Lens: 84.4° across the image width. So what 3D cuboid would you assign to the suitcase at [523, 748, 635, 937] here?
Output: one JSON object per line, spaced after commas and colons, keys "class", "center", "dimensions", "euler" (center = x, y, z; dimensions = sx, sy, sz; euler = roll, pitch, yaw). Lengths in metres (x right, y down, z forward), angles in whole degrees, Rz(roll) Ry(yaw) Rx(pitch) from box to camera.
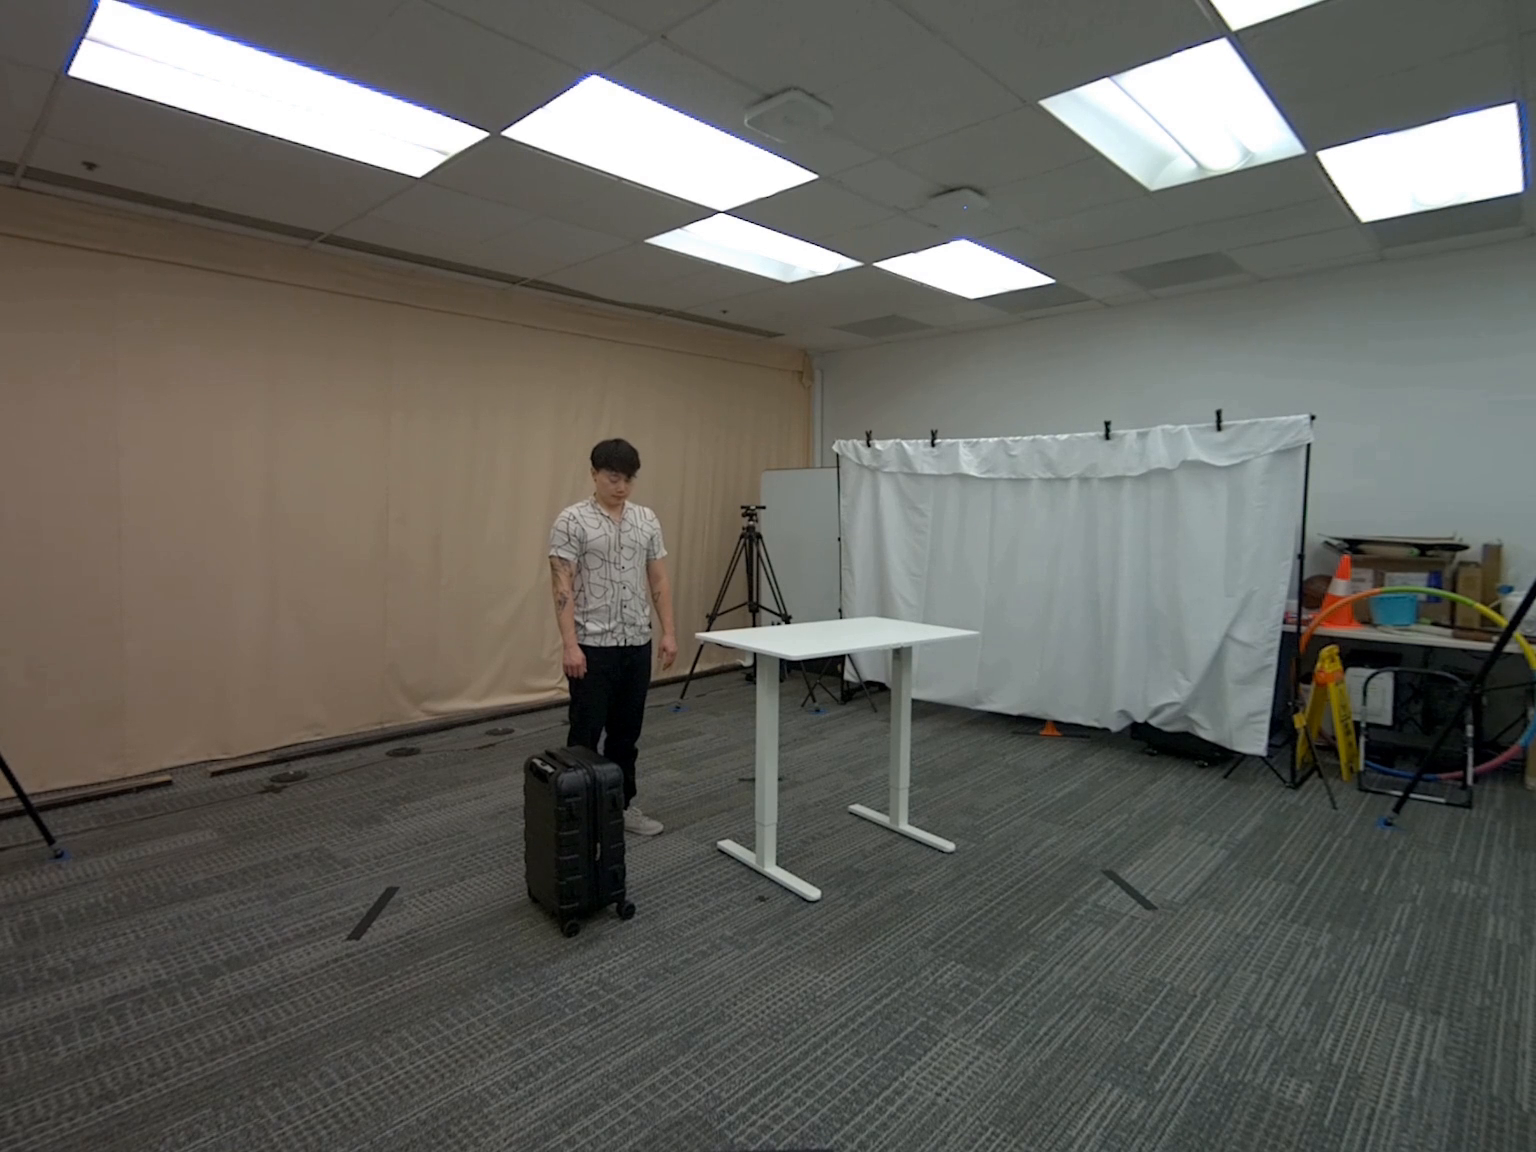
{"class": "suitcase", "center": [-0.667, 0.877, 2.893], "dimensions": [0.241, 0.548, 0.387], "euler": [-3, 5, -37]}
